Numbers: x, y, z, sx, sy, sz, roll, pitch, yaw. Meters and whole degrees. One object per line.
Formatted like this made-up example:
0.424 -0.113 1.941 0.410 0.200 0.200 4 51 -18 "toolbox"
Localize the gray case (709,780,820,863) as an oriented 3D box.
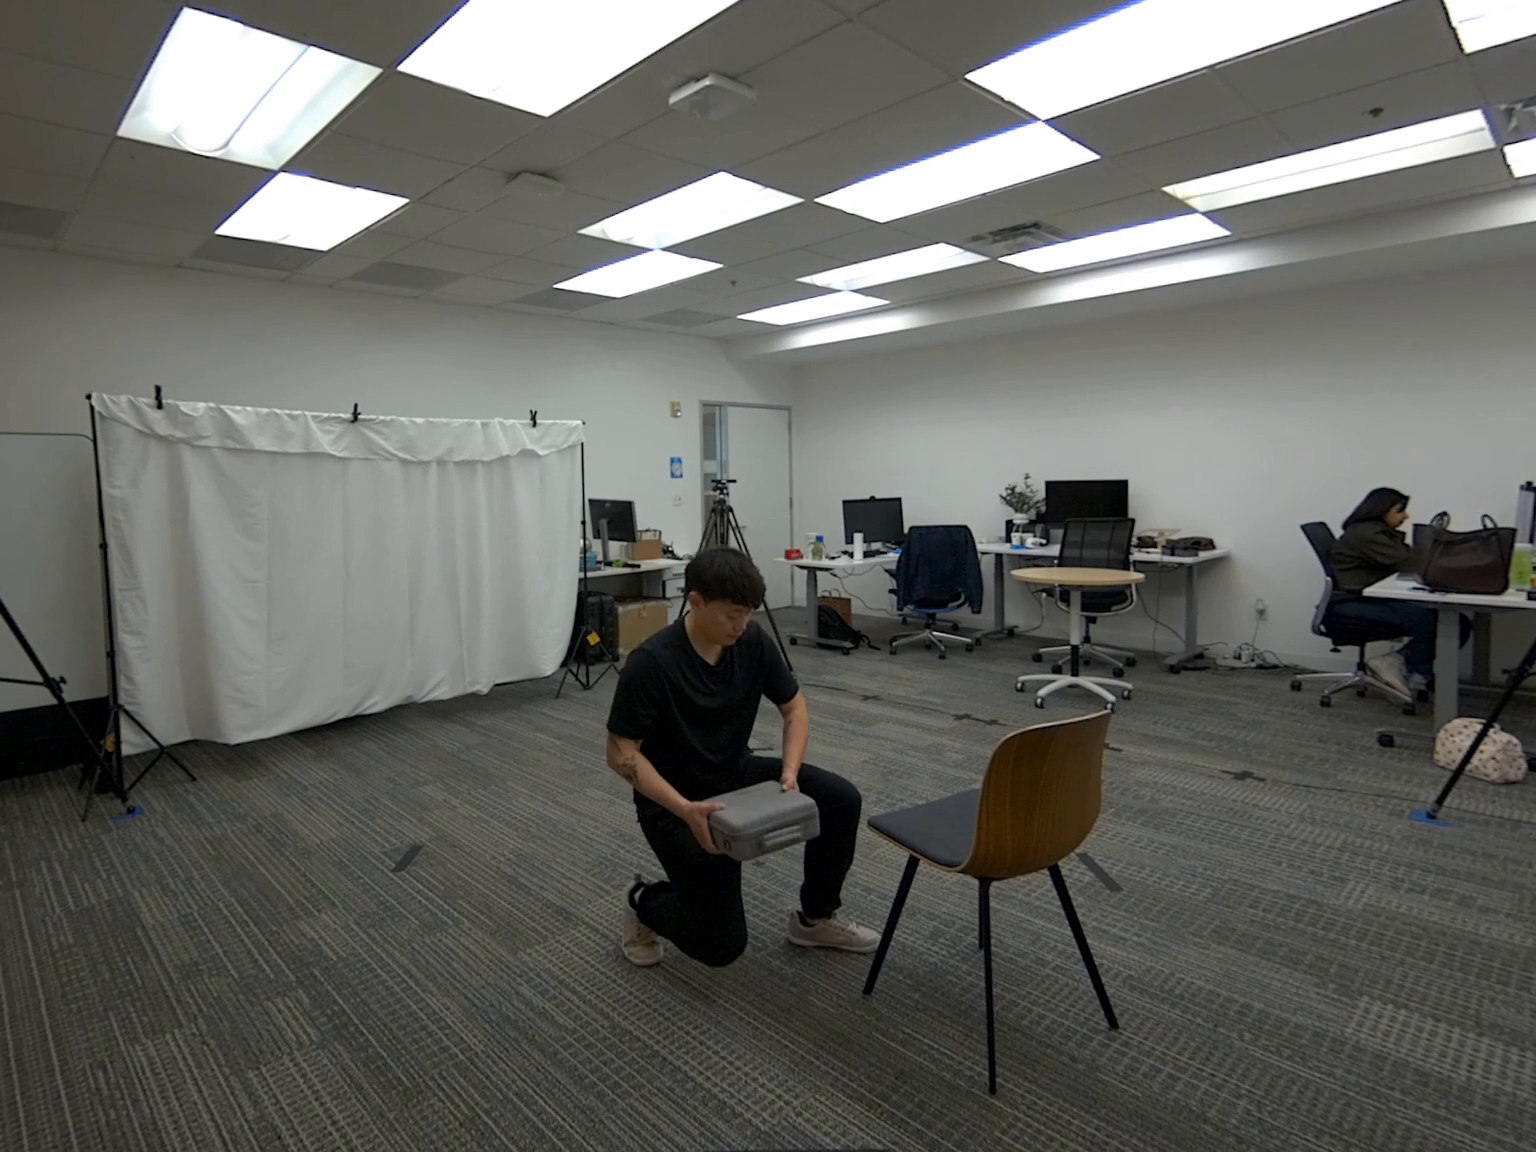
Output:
-0.014 0.639 2.222 0.252 0.104 0.267 -8 5 -28 "gray case"
